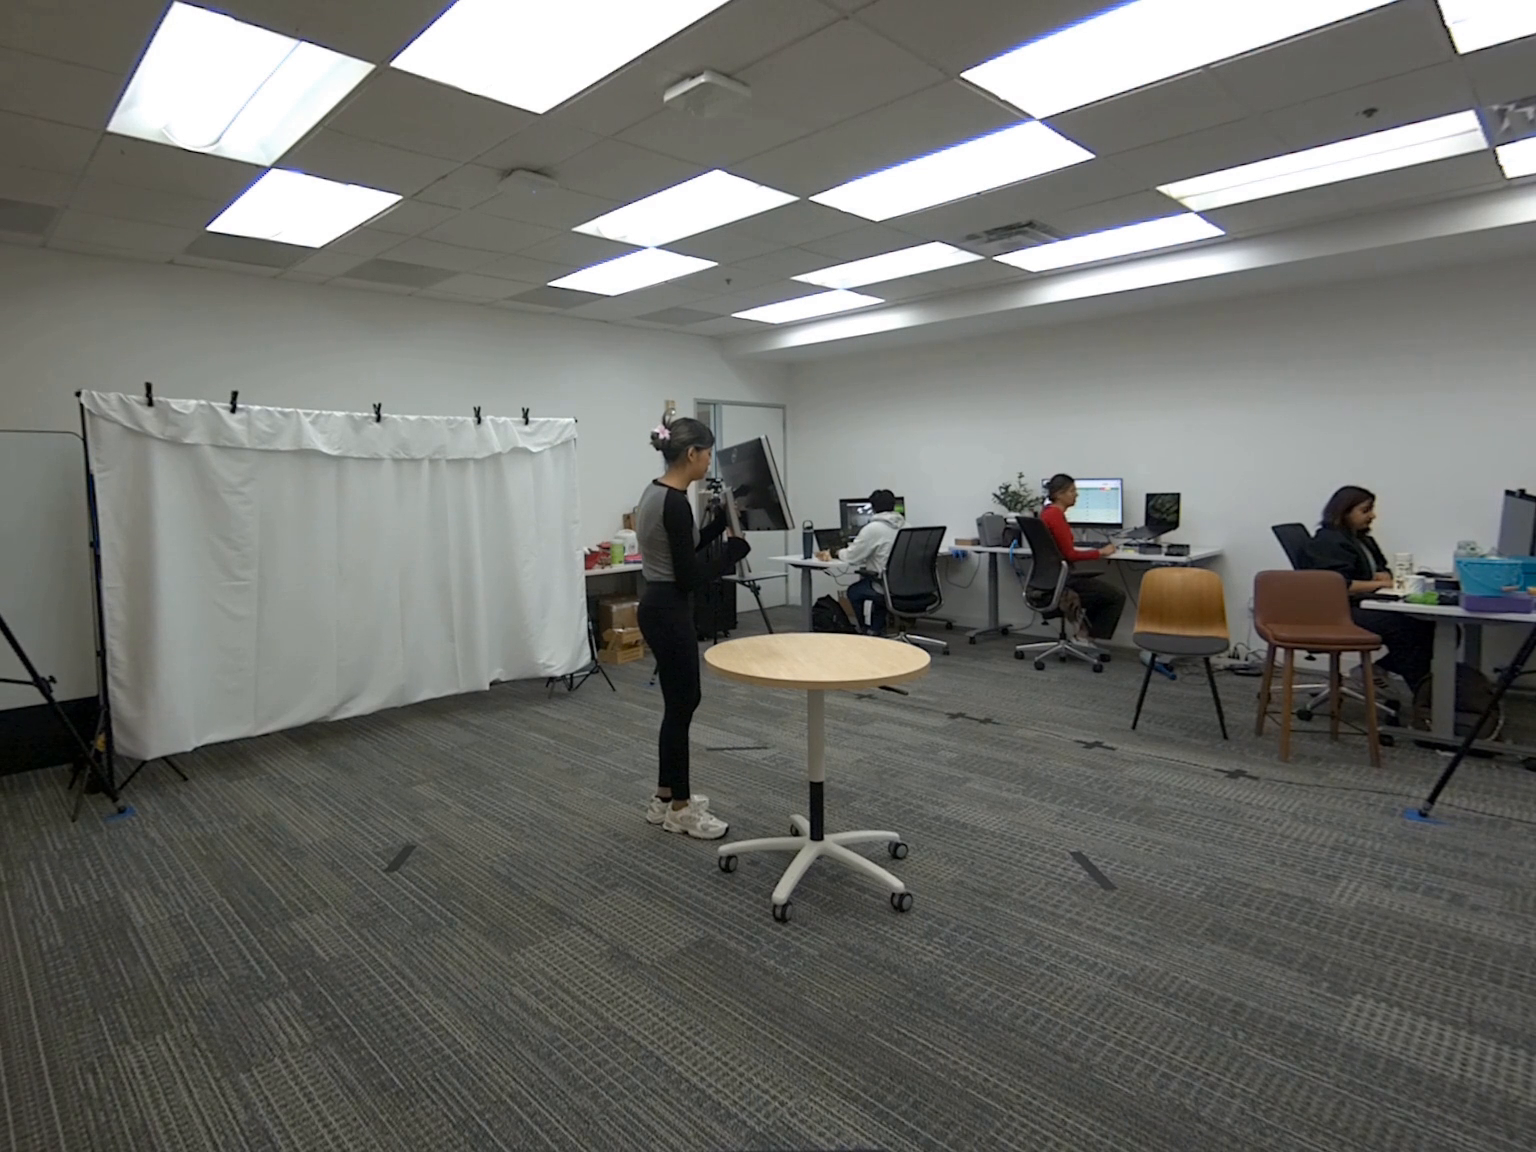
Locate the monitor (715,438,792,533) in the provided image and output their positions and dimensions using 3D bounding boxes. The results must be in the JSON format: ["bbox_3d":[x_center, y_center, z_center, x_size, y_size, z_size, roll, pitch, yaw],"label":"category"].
[{"bbox_3d":[-0.085,-0.256,3.404,0.184,0.521,0.550,-7,4,-22],"label":"monitor"}]
